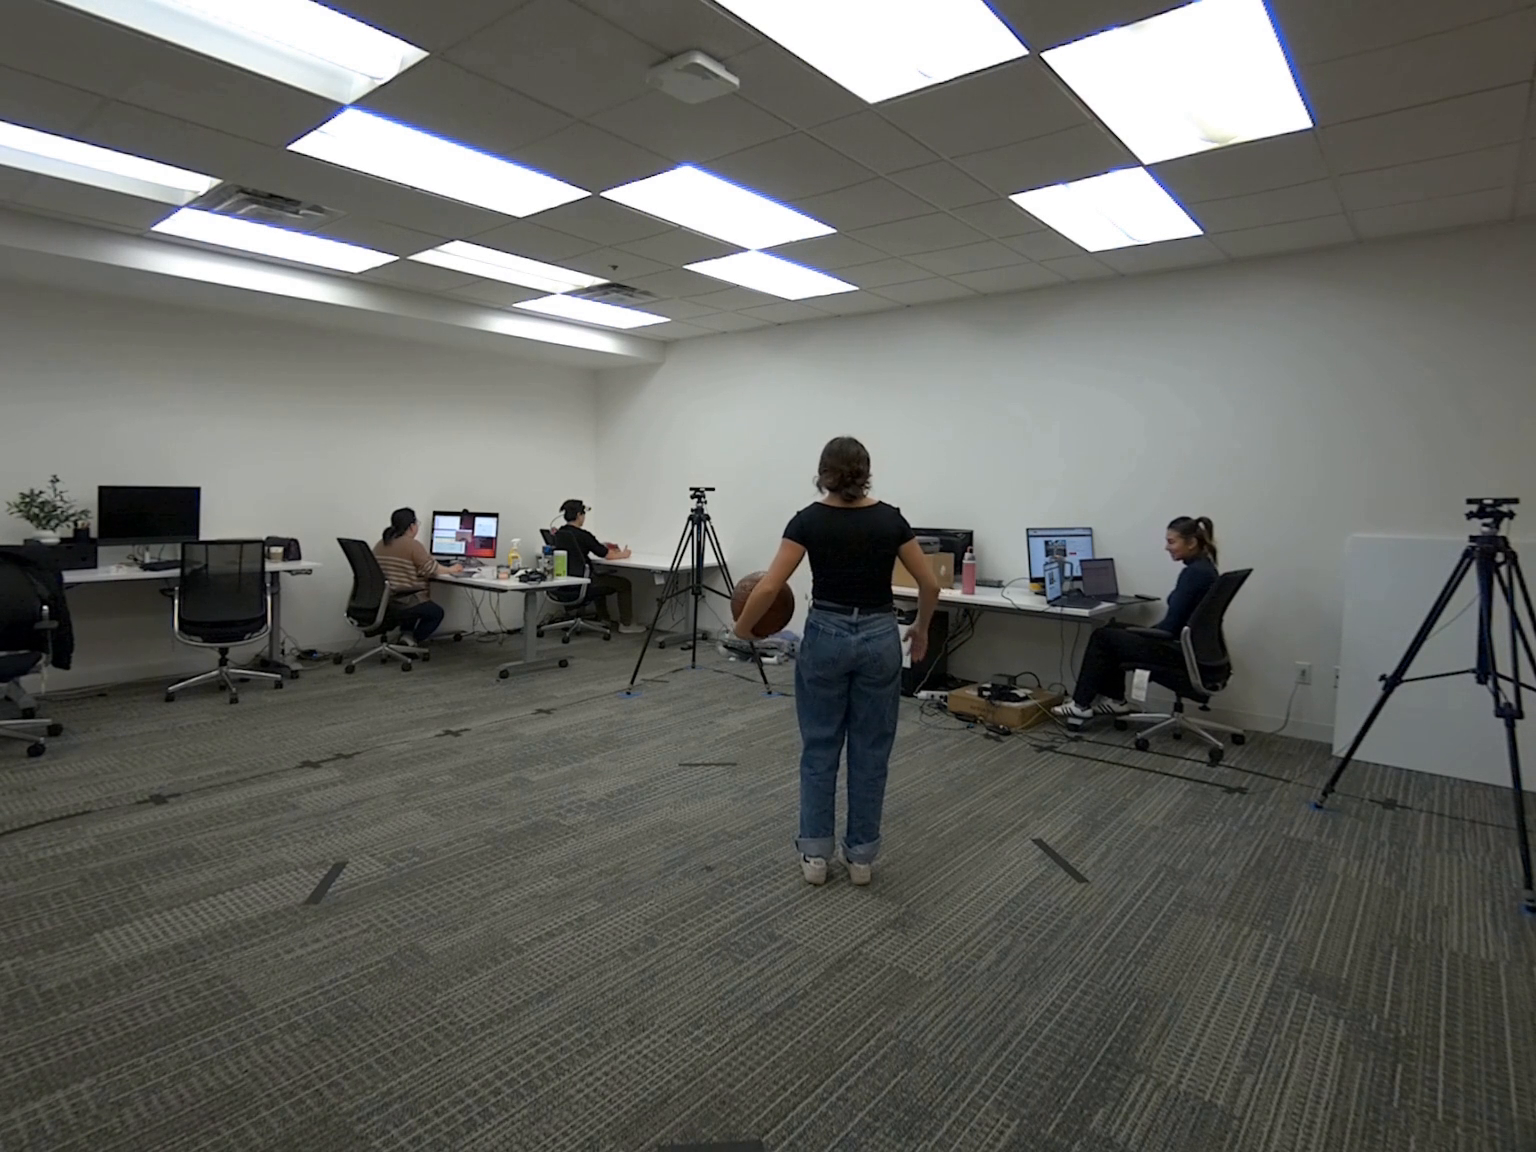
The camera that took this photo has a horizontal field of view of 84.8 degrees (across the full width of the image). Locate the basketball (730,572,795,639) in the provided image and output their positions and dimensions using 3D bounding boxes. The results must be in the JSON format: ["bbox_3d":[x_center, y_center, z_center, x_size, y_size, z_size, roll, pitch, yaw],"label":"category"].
[{"bbox_3d":[-0.013,0.097,3.156,0.235,0.235,0.237,1,4,-2],"label":"basketball"}]
